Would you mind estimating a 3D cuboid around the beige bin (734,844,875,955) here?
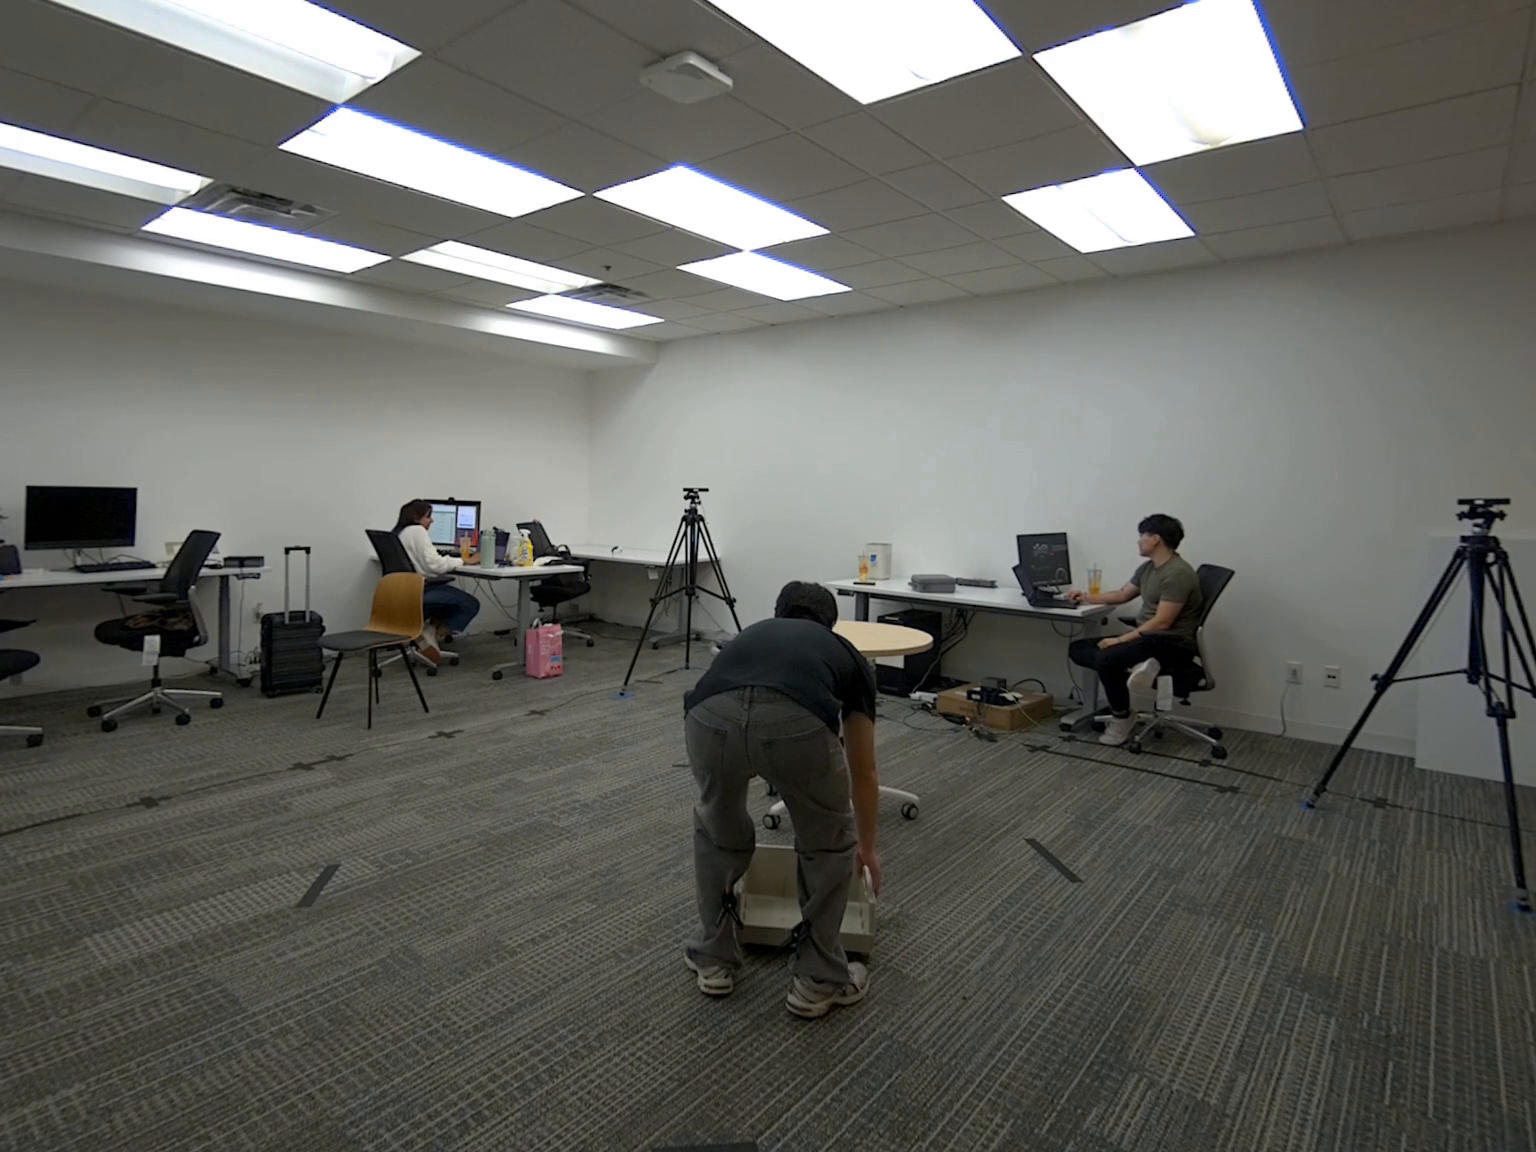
[{"bbox_3d":[0.110,1.028,2.698,0.425,0.188,0.376,1,3,4],"label":"beige bin"}]
